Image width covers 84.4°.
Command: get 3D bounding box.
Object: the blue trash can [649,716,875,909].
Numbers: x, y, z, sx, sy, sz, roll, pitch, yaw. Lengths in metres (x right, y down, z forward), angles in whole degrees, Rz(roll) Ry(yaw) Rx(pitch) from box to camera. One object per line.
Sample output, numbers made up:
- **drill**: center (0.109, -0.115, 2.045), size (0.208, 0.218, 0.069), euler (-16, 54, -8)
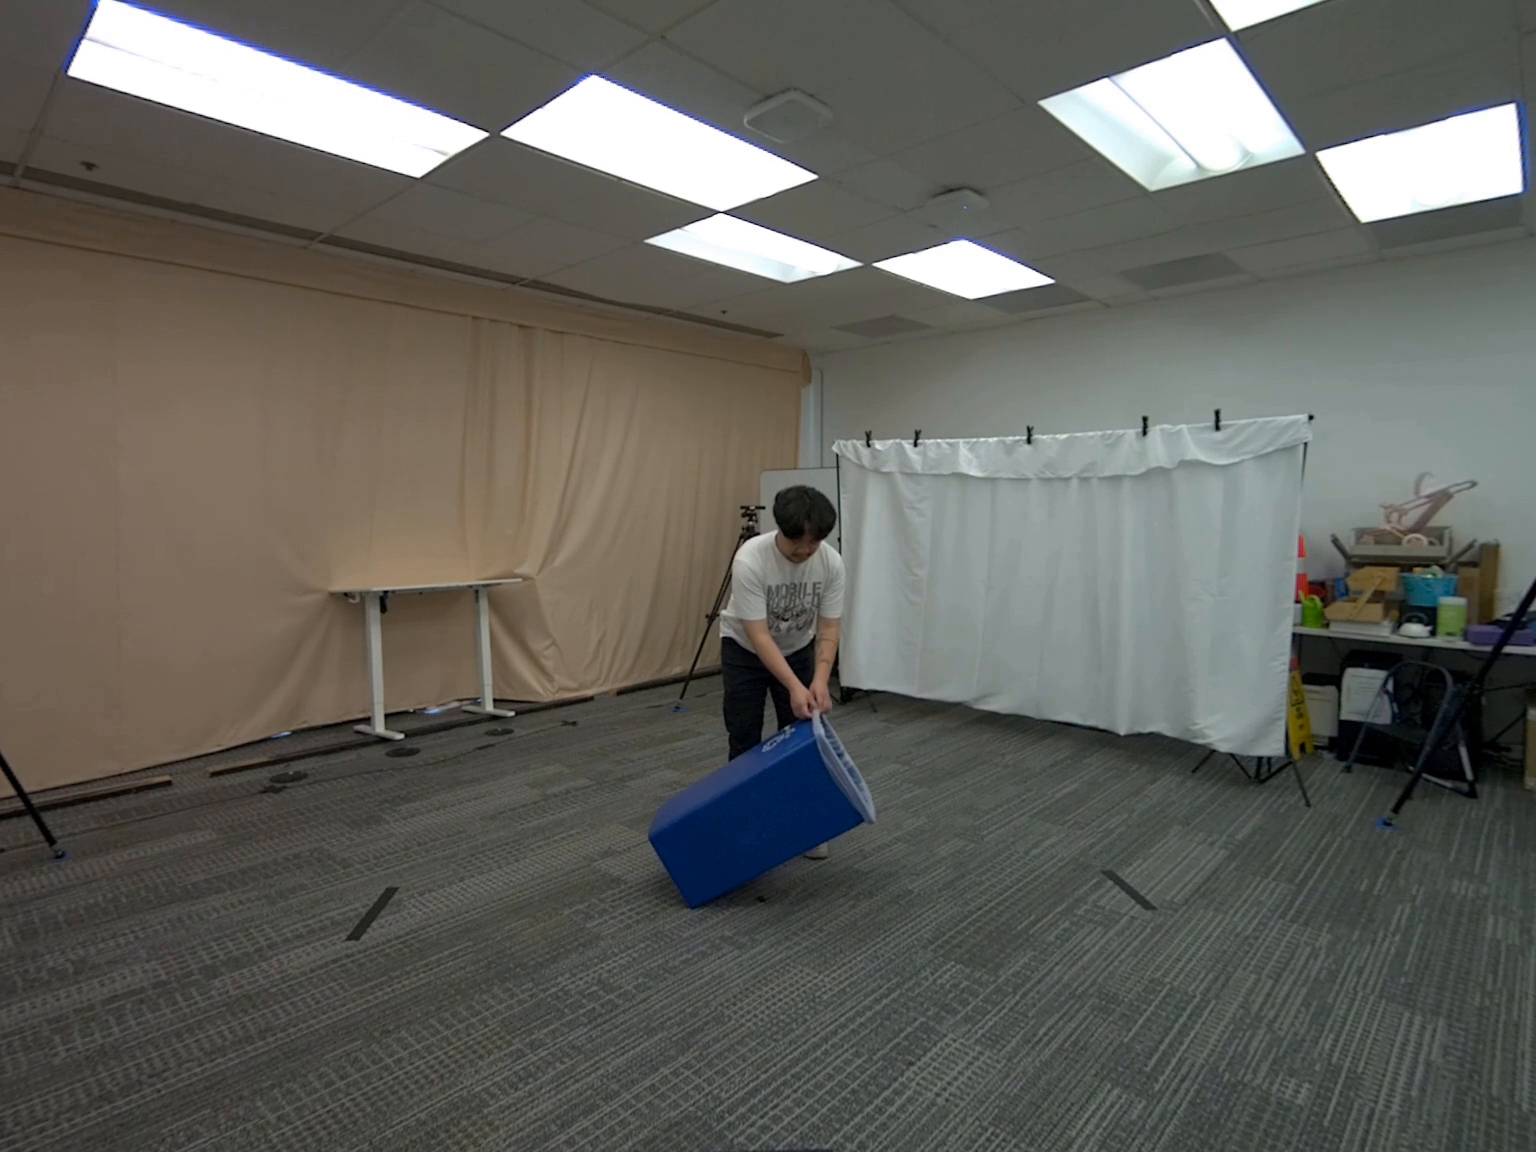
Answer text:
- **blue trash can**: center (-0.027, 0.832, 3.004), size (0.716, 0.377, 0.374), euler (-32, 3, 5)
